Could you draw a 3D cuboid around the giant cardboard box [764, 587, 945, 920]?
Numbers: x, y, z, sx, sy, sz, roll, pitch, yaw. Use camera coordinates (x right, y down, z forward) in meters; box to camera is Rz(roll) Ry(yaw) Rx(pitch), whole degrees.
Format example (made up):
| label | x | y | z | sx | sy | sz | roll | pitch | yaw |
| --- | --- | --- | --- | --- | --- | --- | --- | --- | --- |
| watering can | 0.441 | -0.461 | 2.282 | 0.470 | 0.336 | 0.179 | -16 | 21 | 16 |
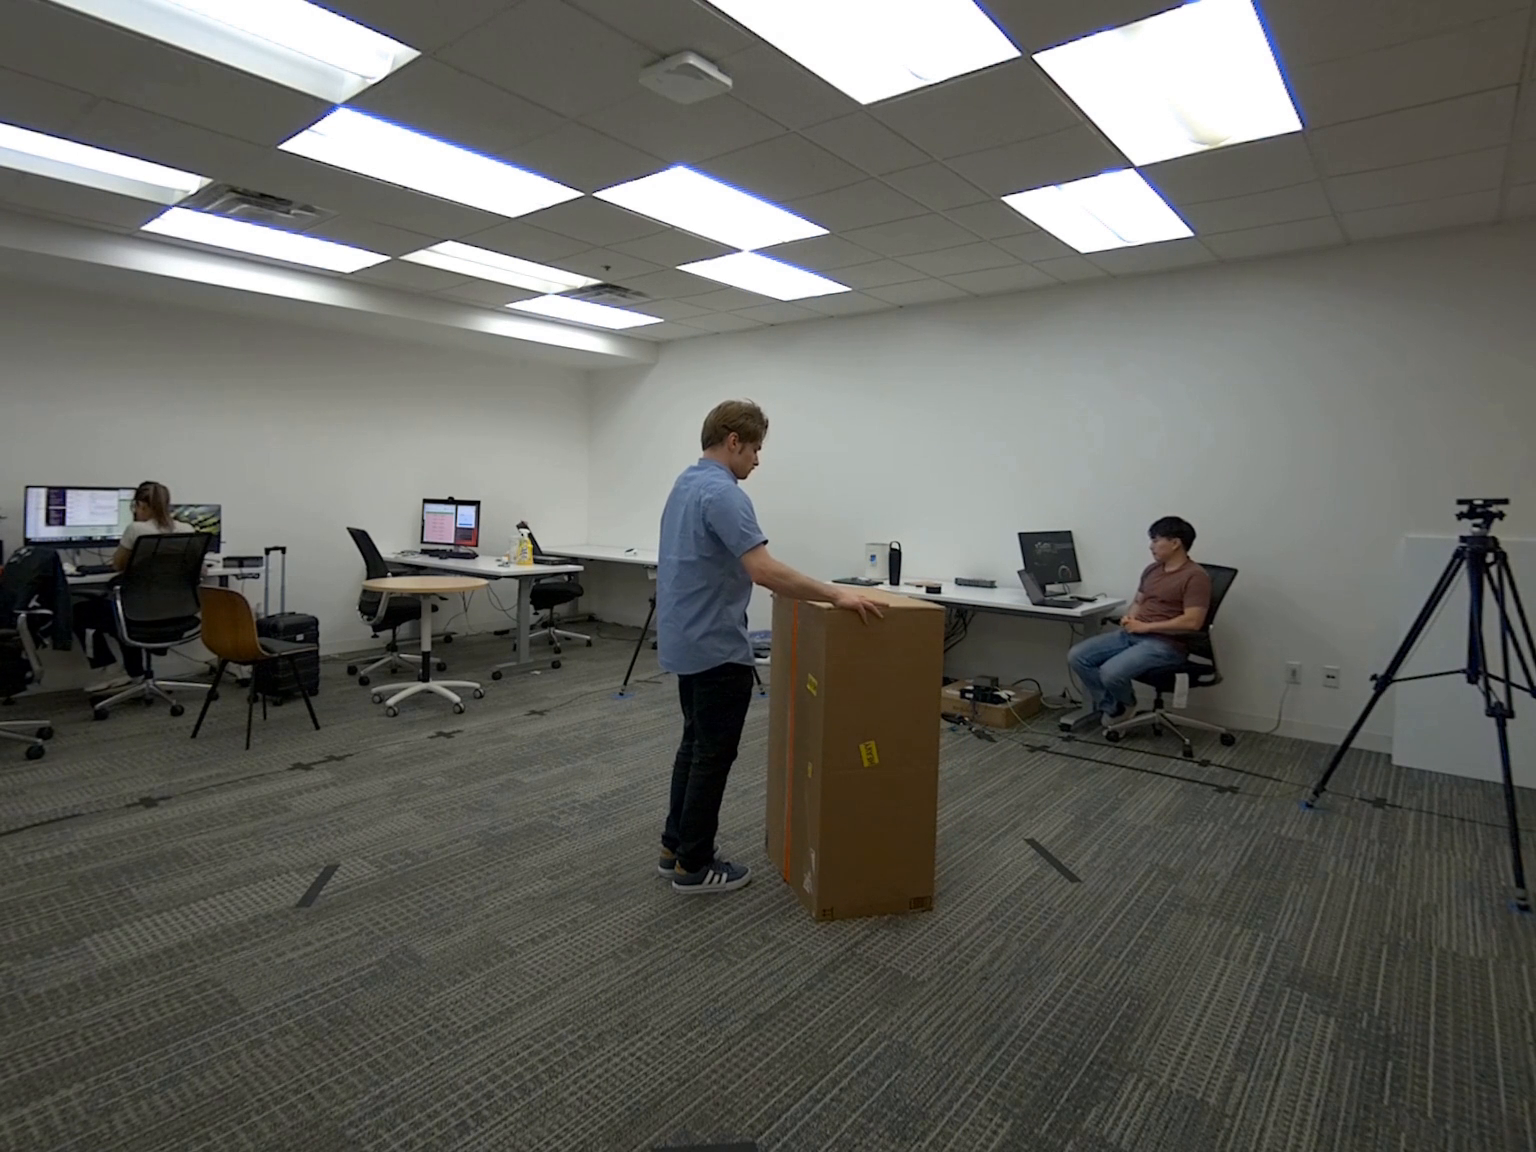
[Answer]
| label | x | y | z | sx | sy | sz | roll | pitch | yaw |
| --- | --- | --- | --- | --- | --- | --- | --- | --- | --- |
| giant cardboard box | 0.278 | 0.577 | 3.036 | 0.440 | 1.024 | 0.594 | 0 | 4 | -15 |
